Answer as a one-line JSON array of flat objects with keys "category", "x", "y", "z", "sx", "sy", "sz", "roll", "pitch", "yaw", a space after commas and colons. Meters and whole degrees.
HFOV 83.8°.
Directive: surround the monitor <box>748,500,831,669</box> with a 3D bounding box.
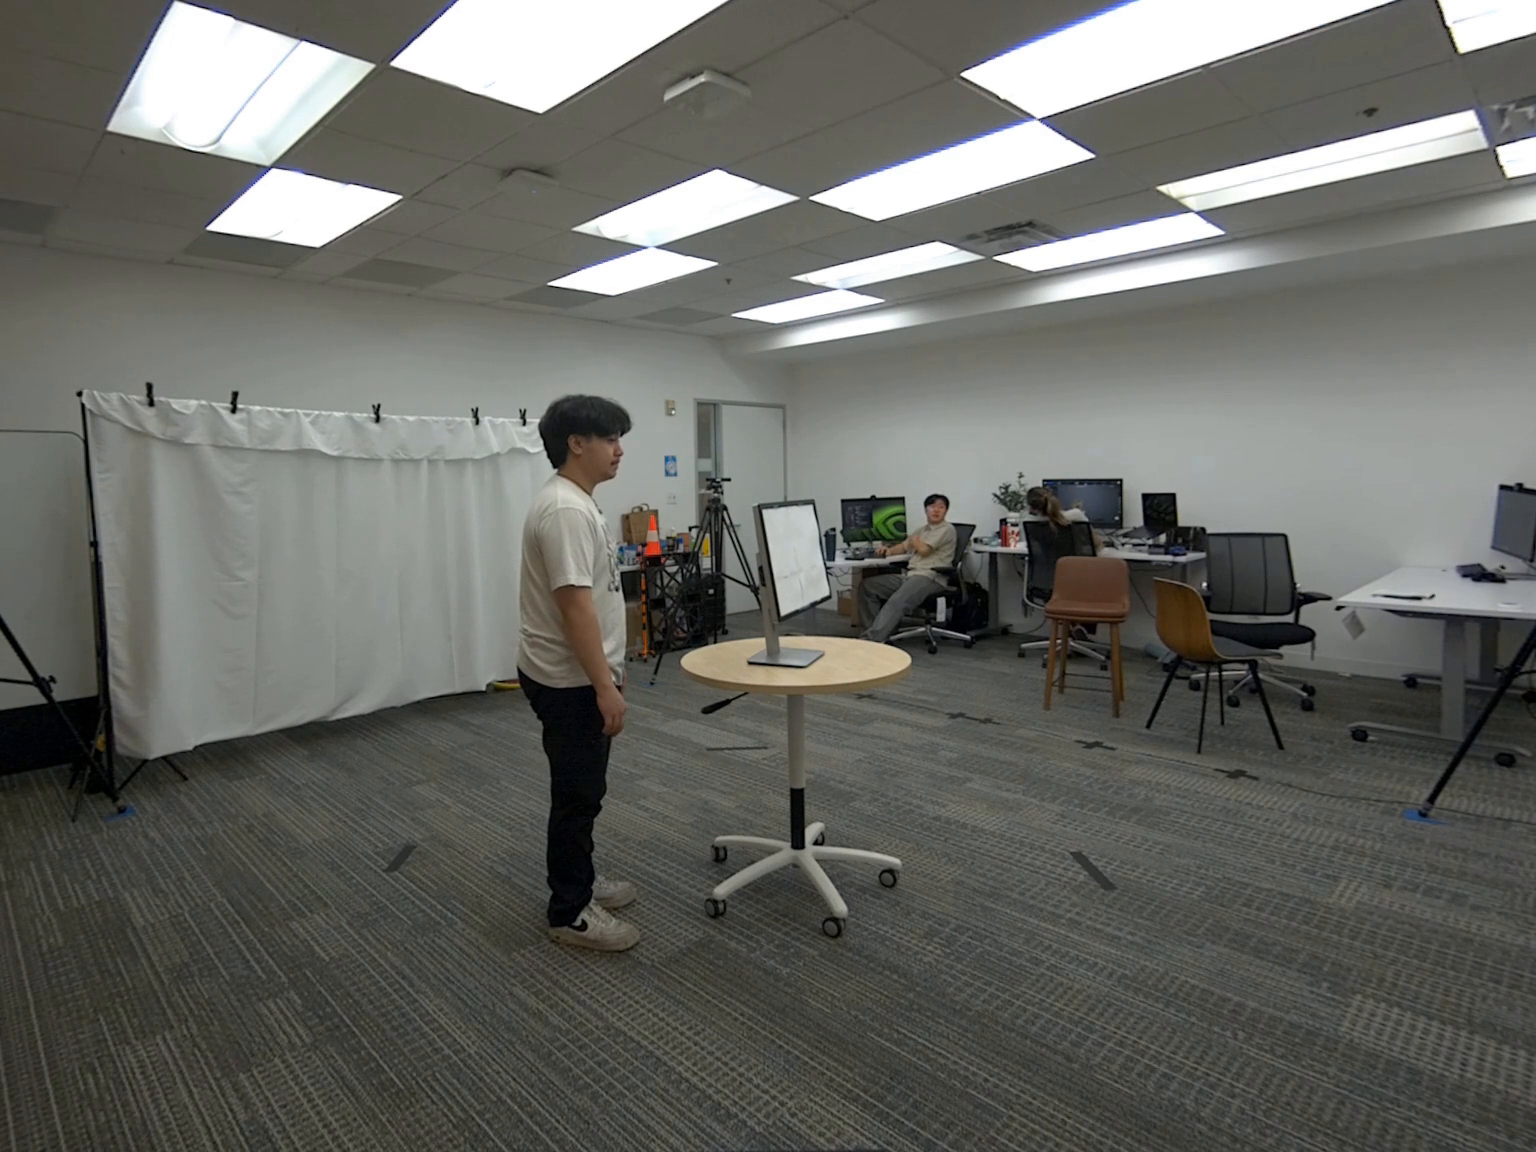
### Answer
[{"category": "monitor", "x": 0.032, "y": 0.022, "z": 2.850, "sx": 0.214, "sy": 0.553, "sz": 0.556, "roll": -4, "pitch": 3, "yaw": 22}]
